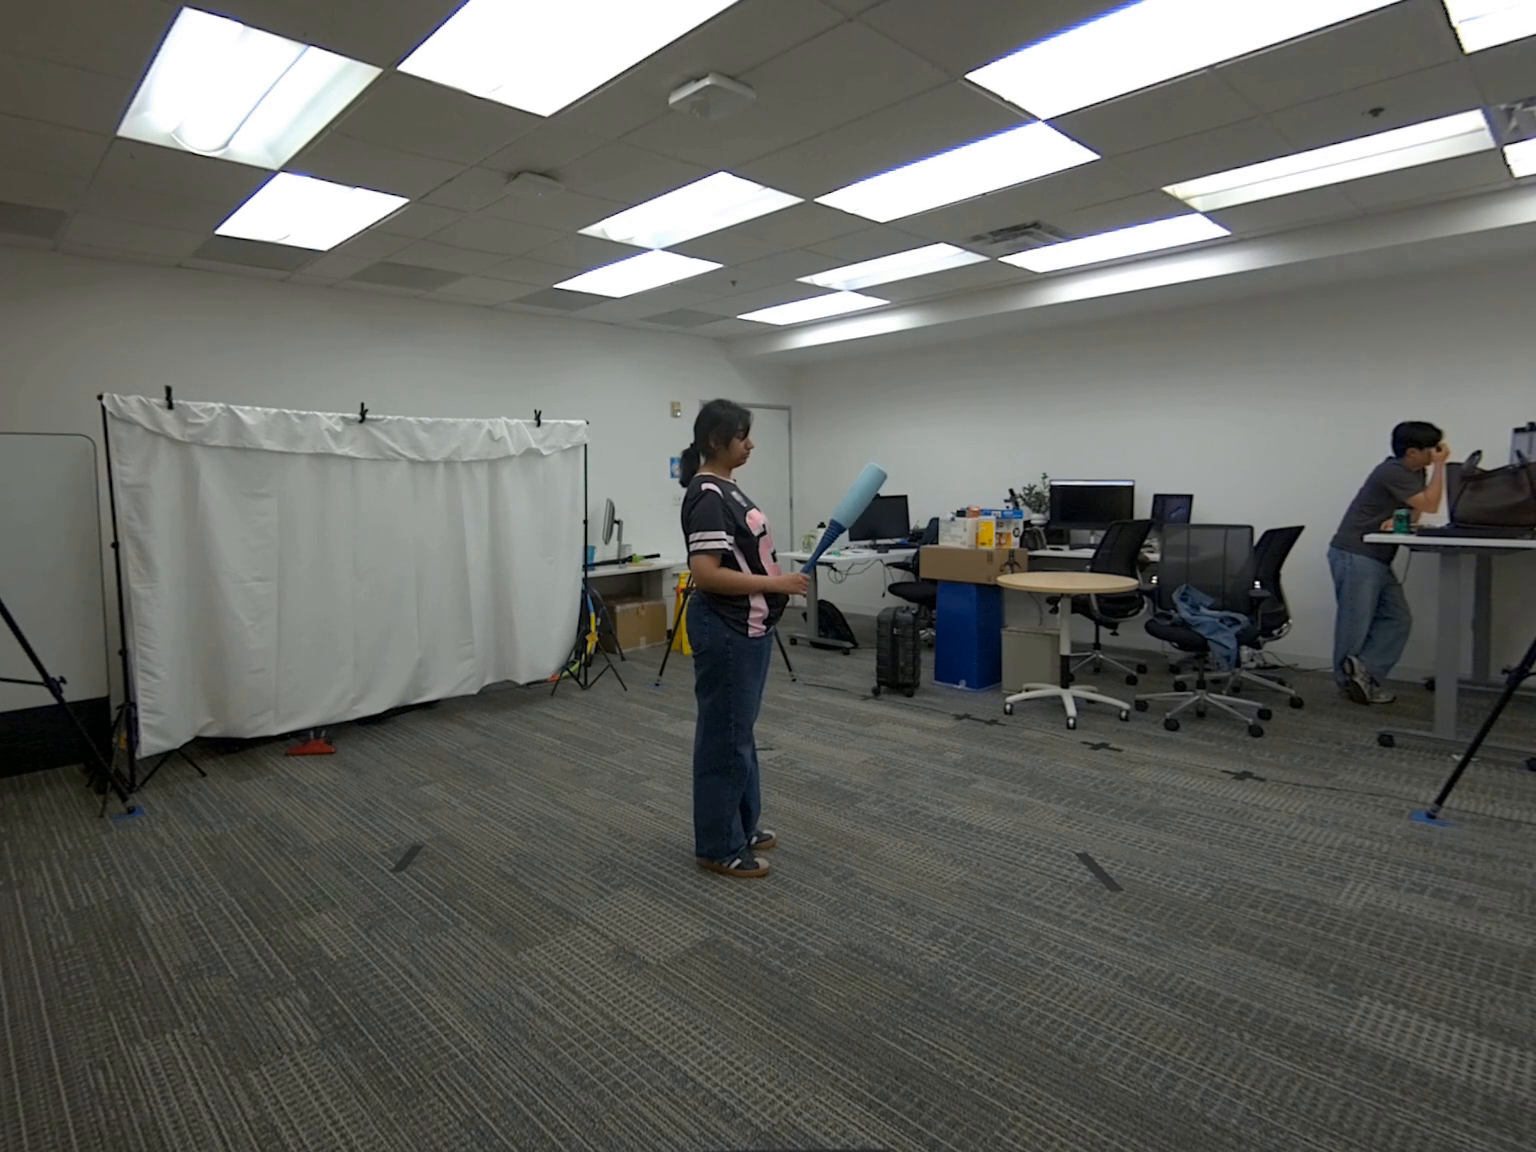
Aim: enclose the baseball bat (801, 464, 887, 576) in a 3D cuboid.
[{"bbox_3d":[0.236,-0.154,2.999,0.089,0.543,0.089,37,-4,1],"label":"baseball bat"}]
